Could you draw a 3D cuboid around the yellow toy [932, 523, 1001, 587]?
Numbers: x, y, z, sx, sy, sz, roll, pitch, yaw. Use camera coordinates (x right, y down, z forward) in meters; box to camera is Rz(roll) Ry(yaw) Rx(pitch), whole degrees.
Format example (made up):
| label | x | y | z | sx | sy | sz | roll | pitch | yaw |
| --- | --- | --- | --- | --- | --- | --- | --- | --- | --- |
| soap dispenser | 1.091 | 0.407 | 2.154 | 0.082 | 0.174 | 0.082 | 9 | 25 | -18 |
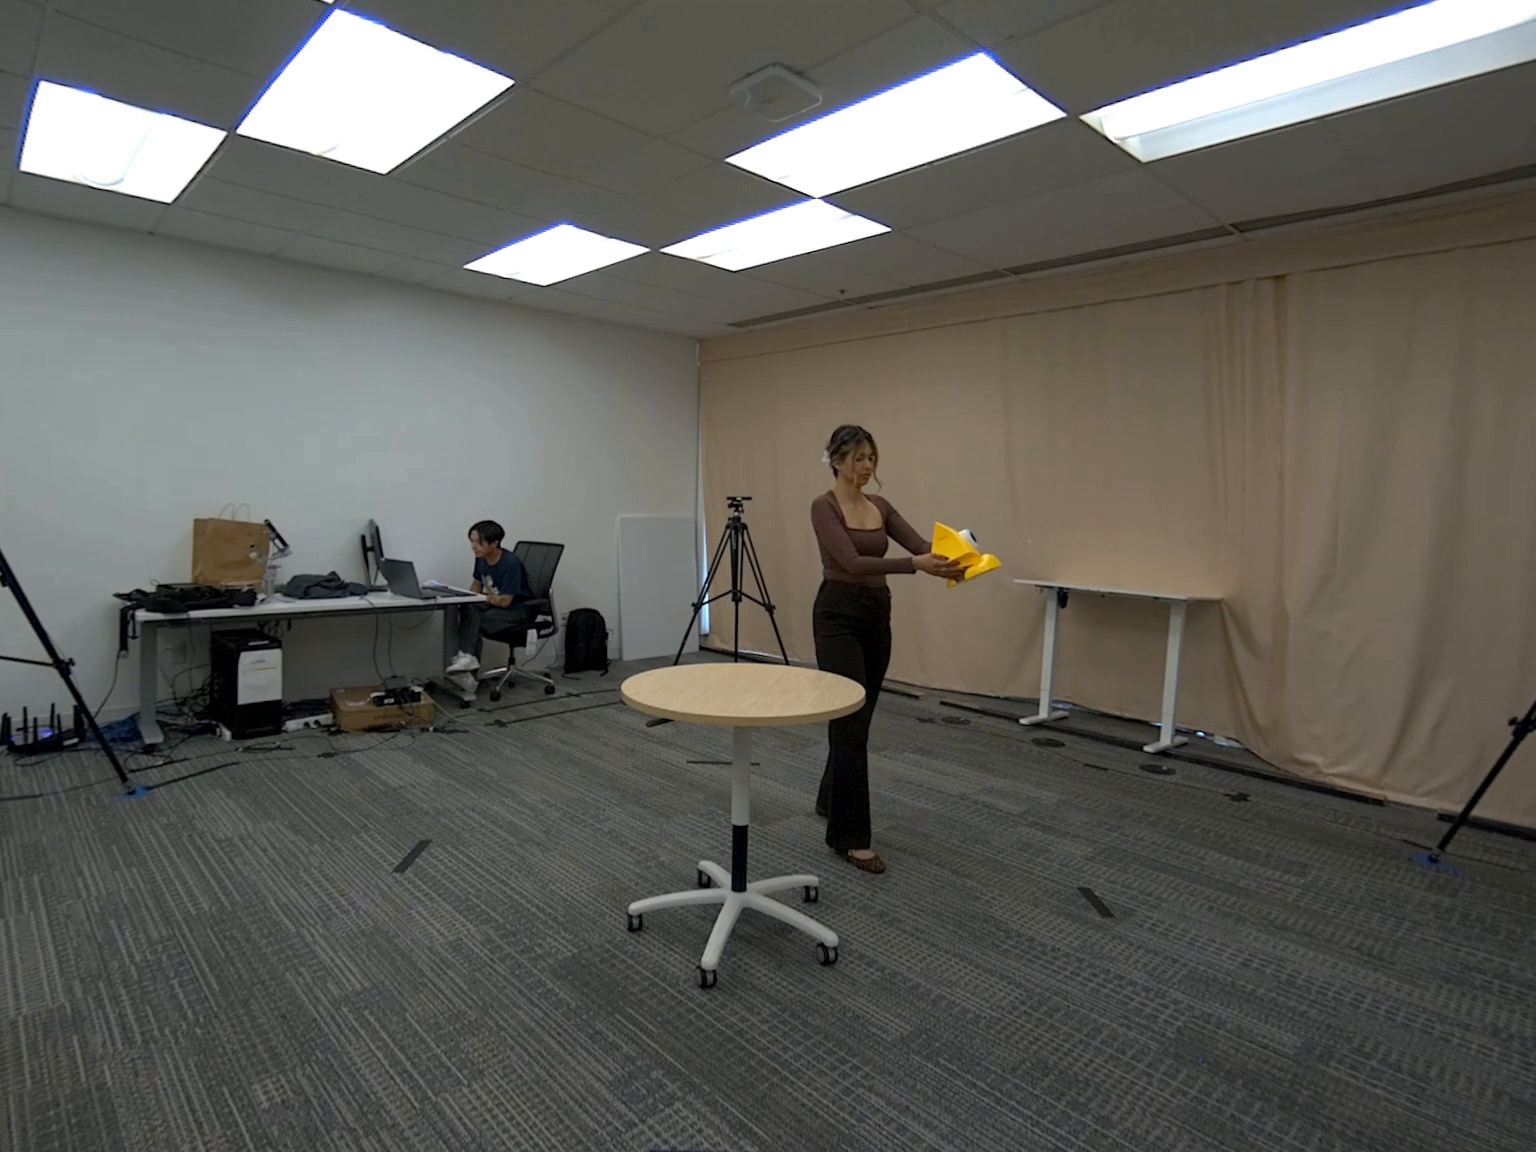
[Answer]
| label | x | y | z | sx | sy | sz | roll | pitch | yaw |
| --- | --- | --- | --- | --- | --- | --- | --- | --- | --- |
| yellow toy | 0.685 | -0.104 | 3.056 | 0.190 | 0.233 | 0.206 | -14 | -14 | -33 |
